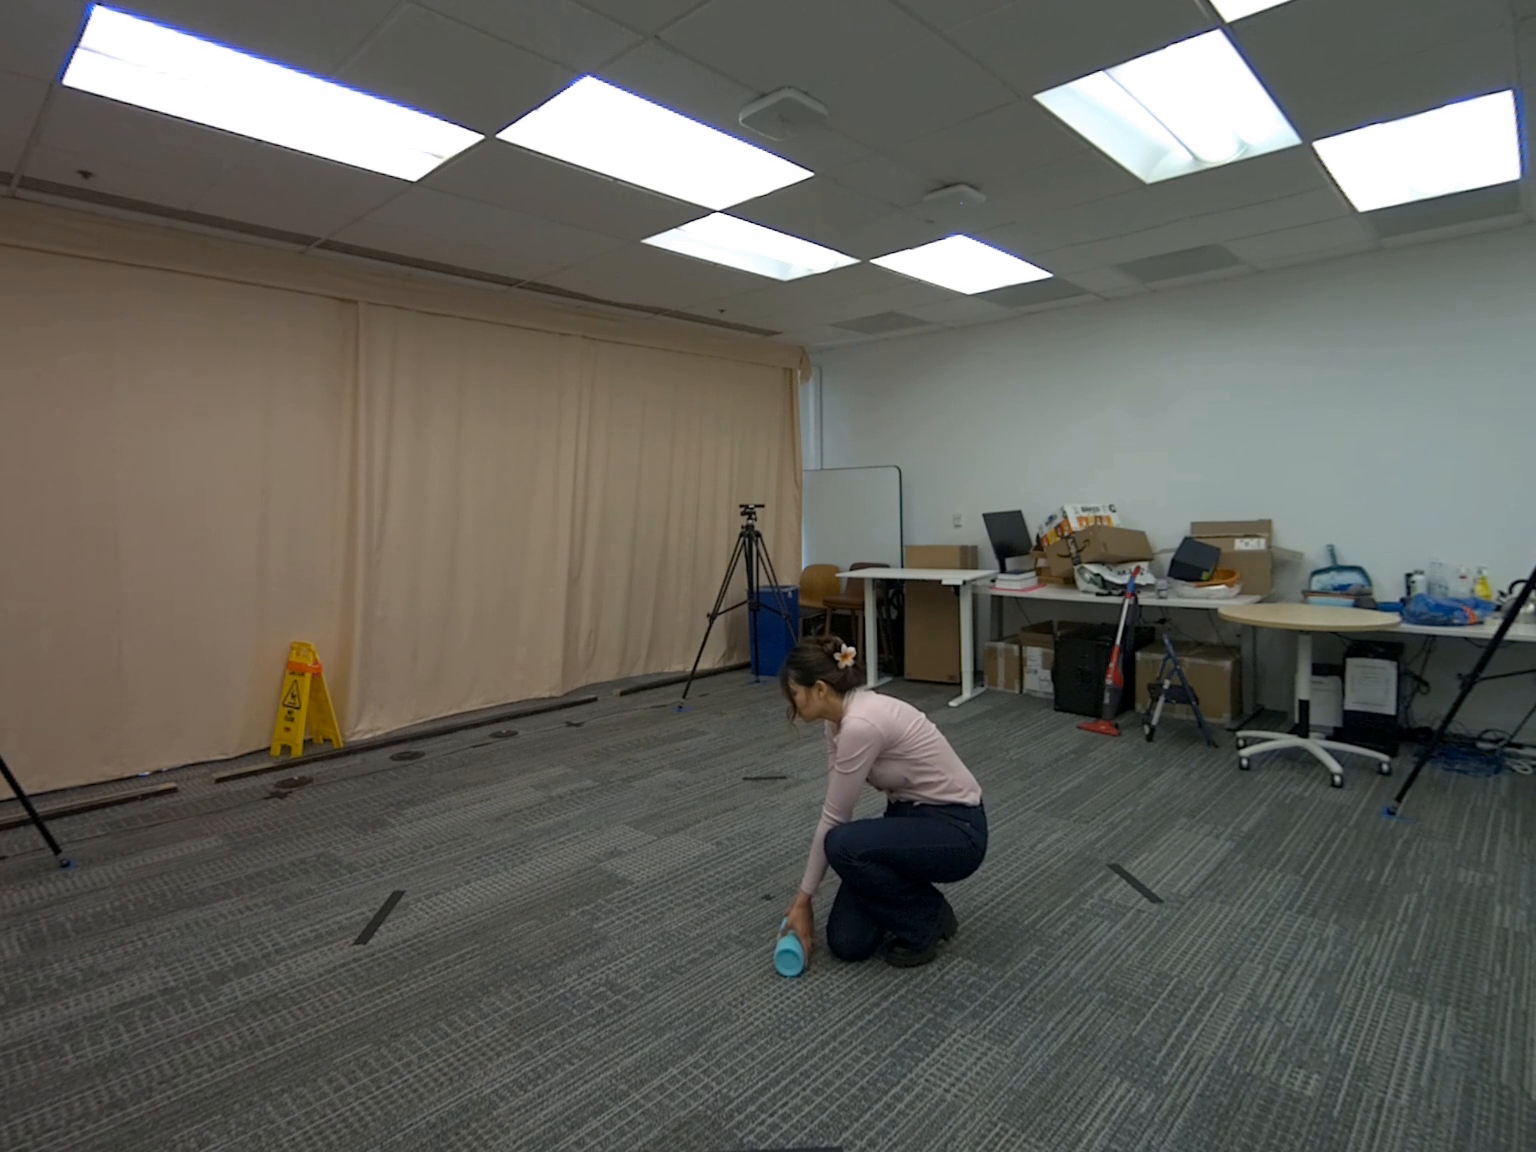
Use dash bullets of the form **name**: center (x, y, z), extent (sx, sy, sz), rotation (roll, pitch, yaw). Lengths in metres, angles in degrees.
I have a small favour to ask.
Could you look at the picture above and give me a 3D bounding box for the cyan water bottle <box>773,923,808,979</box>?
- **cyan water bottle**: center (0.082, 1.138, 2.609), extent (0.093, 0.092, 0.281), rotation (0, 3, 8)
